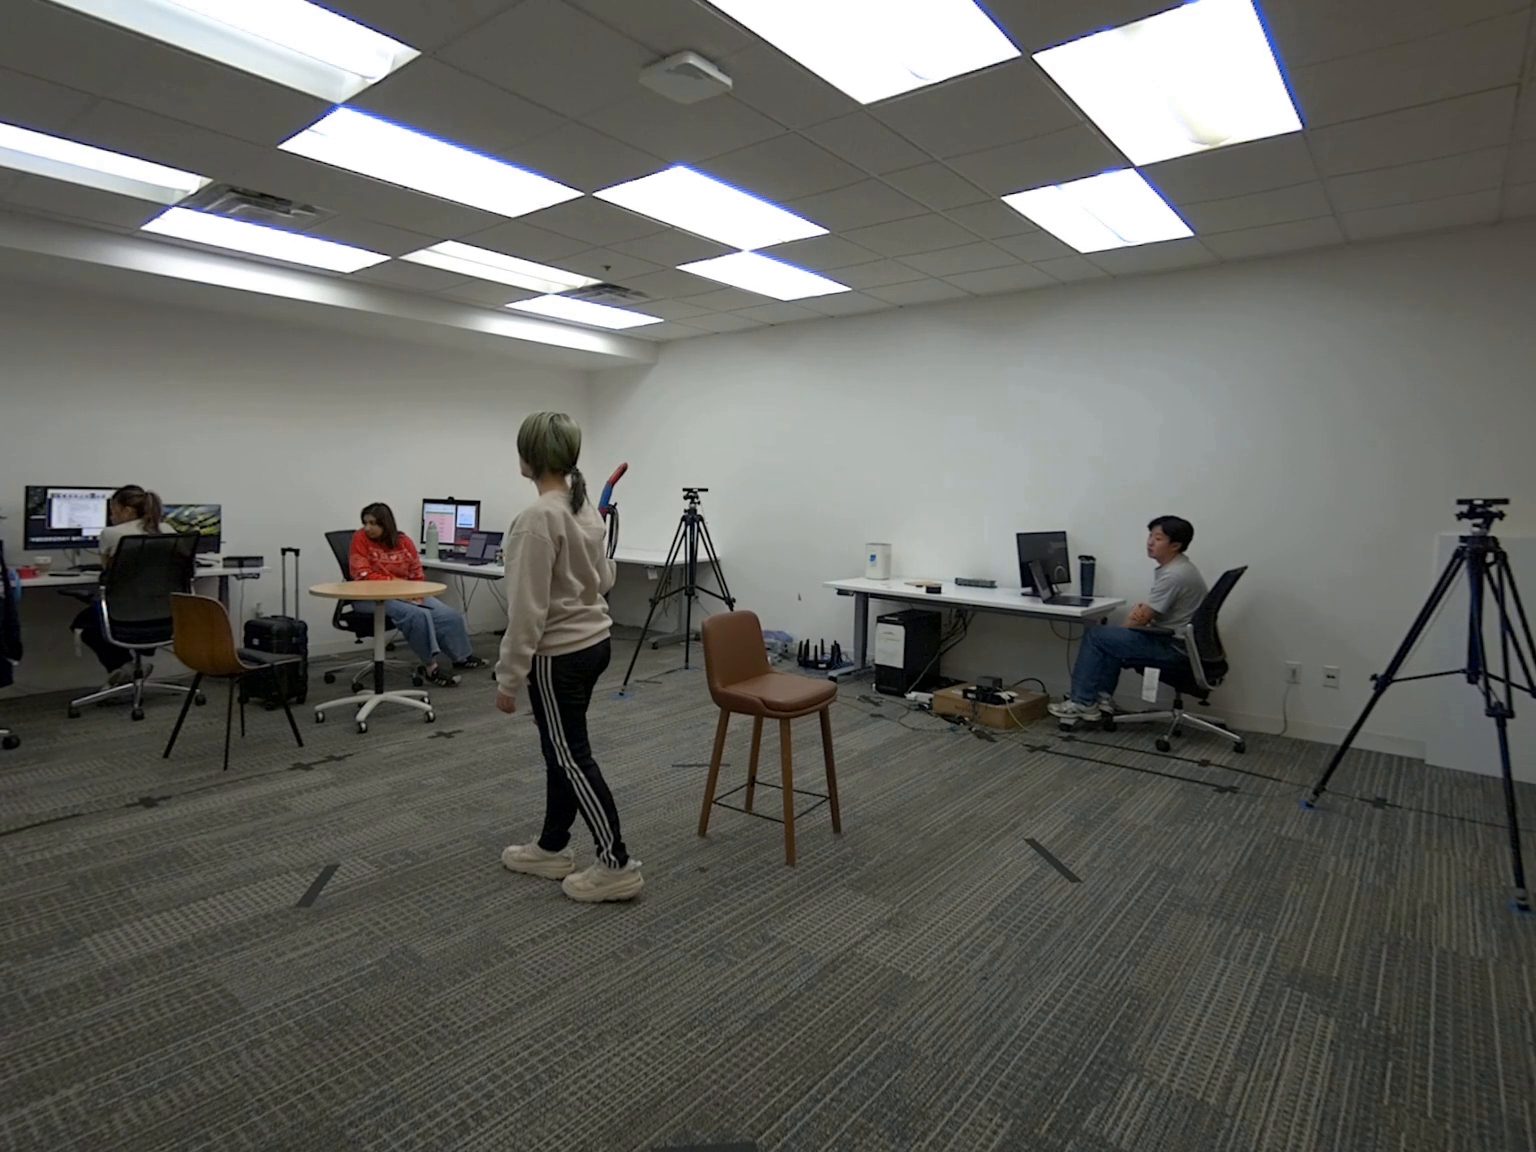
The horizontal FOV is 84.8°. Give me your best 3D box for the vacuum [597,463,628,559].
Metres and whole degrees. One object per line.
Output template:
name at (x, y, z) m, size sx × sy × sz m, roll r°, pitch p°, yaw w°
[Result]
vacuum at (-0.703, 0.054, 3.383) m, size 0.262 × 1.053 × 0.138 m, roll 9°, pitch -6°, yaw 40°
